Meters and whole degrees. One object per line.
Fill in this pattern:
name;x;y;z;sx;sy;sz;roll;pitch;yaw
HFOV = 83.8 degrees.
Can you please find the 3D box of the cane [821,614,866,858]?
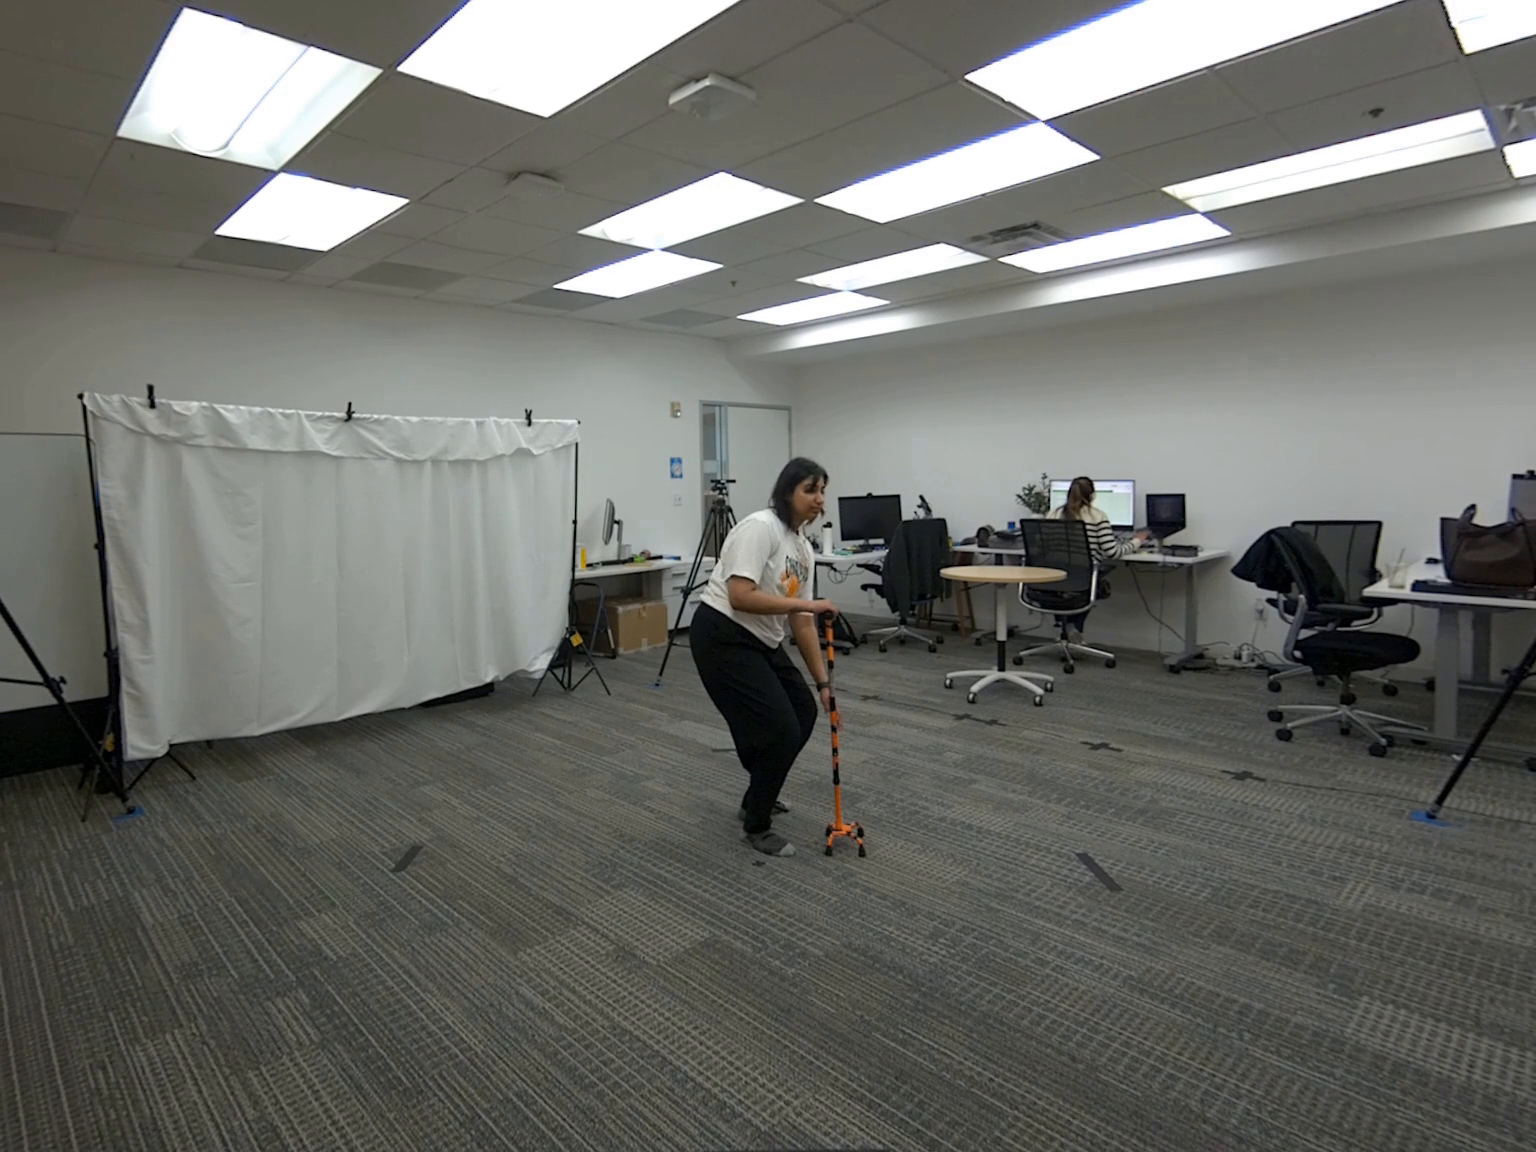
cane;0.263;0.559;3.237;0.152;0.905;0.206;-3;3;5
